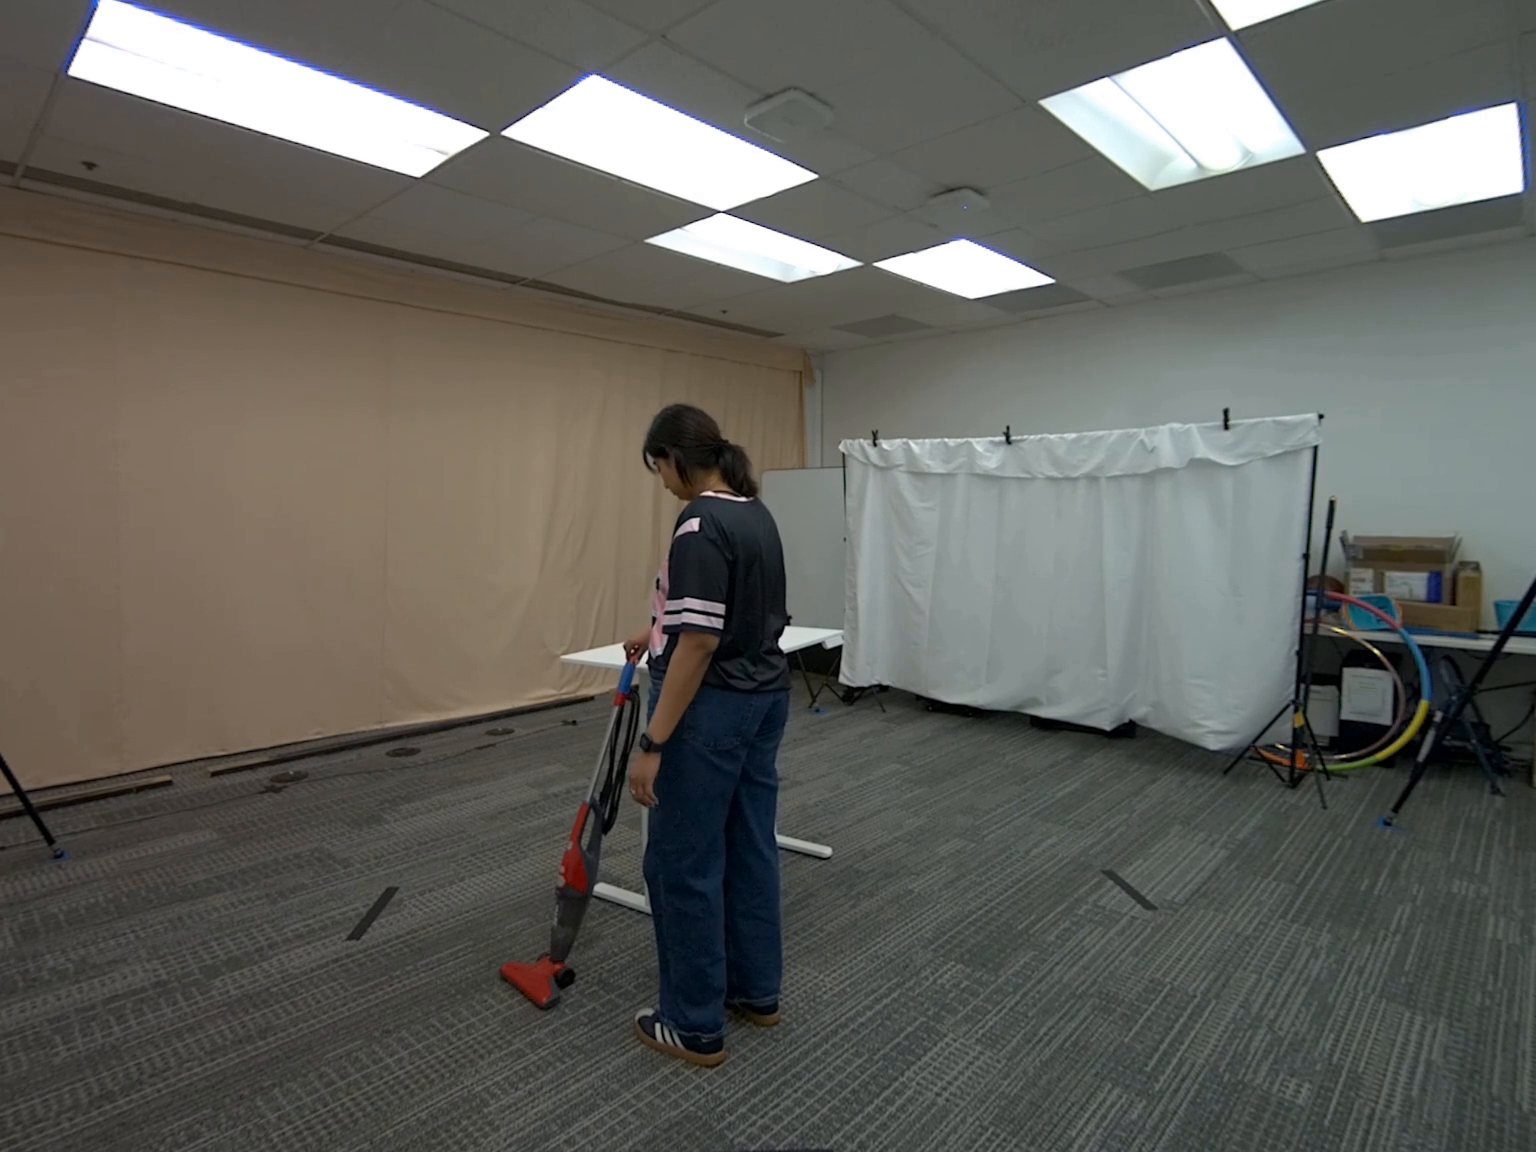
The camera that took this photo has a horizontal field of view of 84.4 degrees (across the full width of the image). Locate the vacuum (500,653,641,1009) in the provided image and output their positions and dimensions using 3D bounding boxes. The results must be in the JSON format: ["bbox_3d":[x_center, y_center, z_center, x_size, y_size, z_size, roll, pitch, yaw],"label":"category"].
[{"bbox_3d":[-0.519,0.701,2.571,0.261,1.053,0.139,3,-19,45],"label":"vacuum"}]
